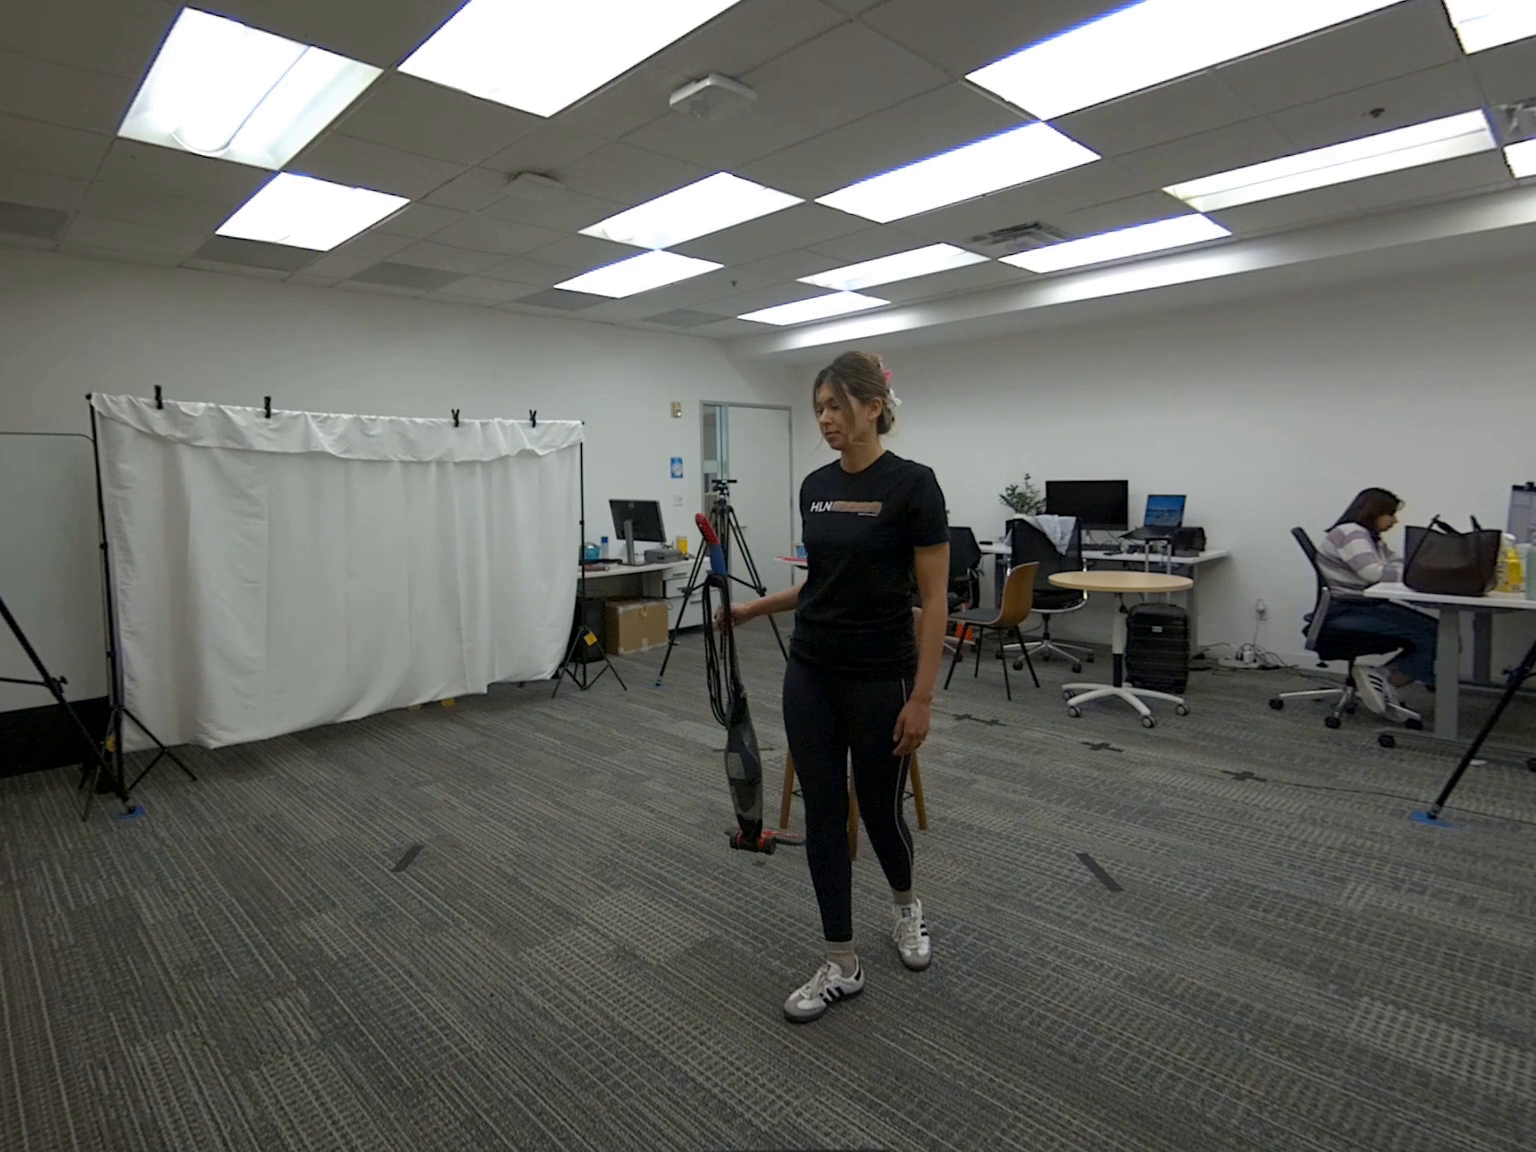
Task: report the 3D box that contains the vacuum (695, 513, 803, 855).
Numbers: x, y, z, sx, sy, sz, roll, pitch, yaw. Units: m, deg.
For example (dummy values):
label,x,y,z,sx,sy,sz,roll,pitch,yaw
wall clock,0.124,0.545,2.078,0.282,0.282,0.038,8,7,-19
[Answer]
label,x,y,z,sx,sy,sz,roll,pitch,yaw
vacuum,-0.106,0.330,2.428,0.258,1.031,0.143,-1,18,27
